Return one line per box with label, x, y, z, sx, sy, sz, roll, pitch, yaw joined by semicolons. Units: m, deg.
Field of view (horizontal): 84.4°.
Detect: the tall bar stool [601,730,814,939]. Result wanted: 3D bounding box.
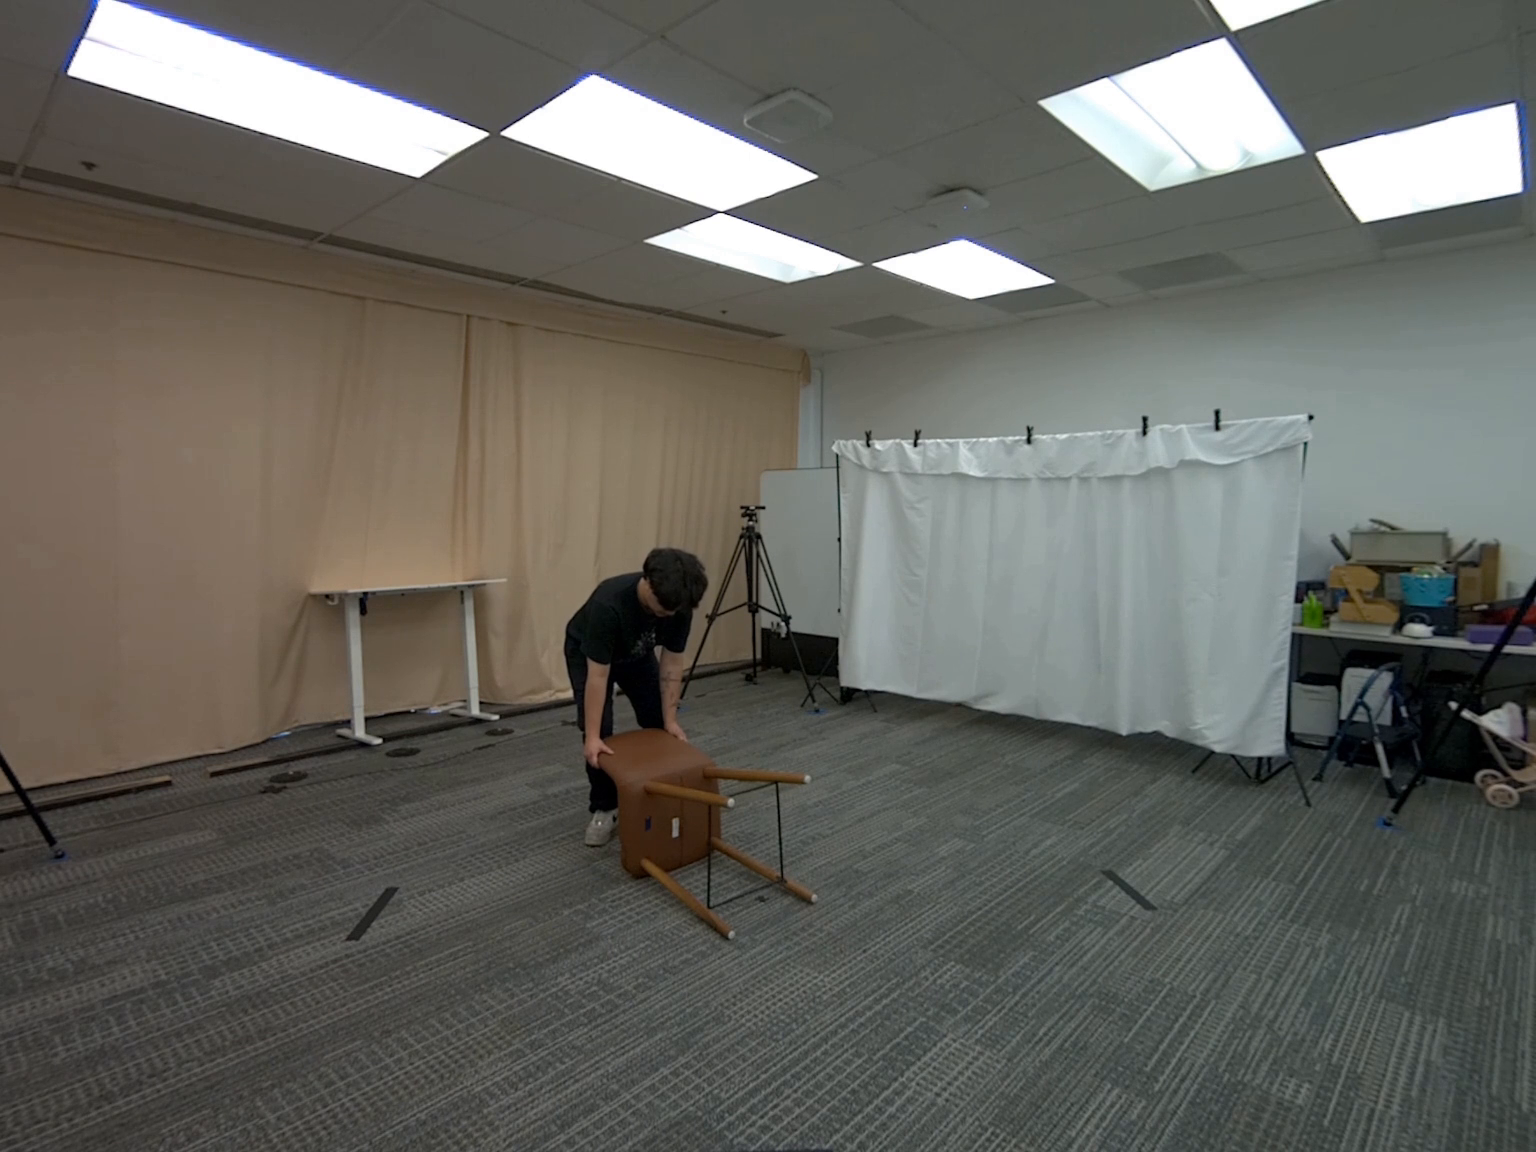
tall bar stool;-0.273;0.904;3.150;0.443;0.466;0.919;-4;6;-41
